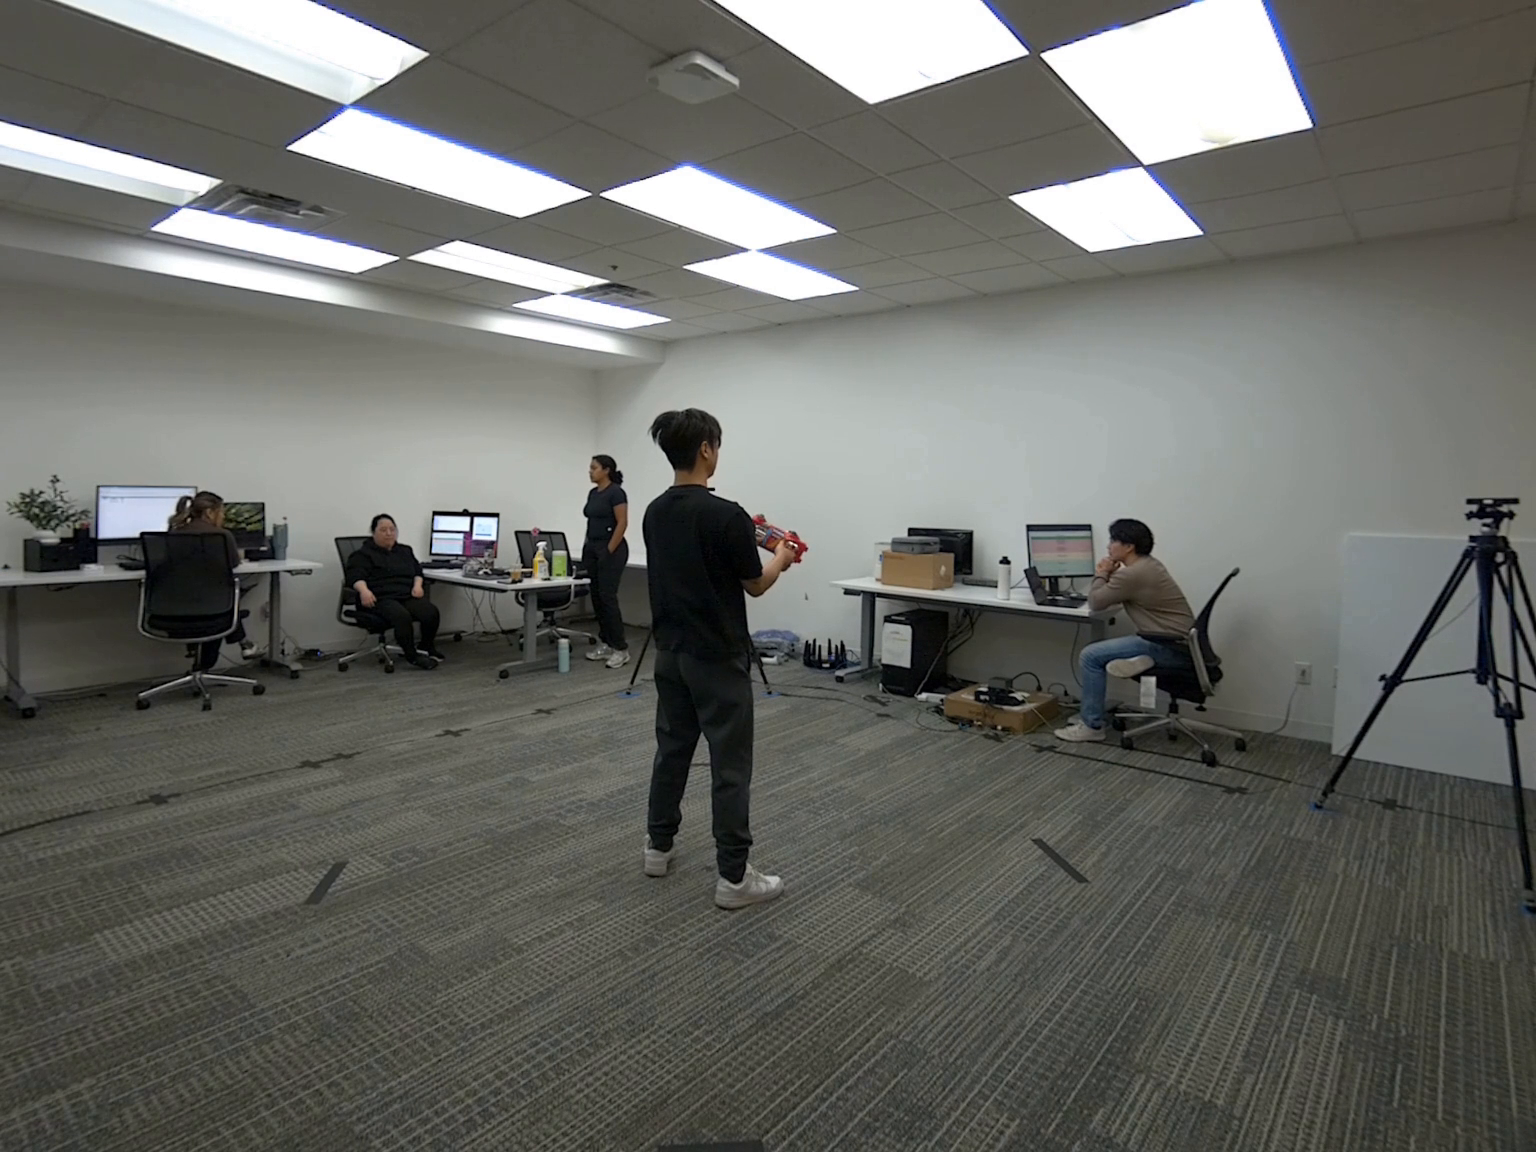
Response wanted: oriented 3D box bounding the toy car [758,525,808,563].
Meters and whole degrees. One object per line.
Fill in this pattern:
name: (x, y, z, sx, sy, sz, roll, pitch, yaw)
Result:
toy car: (0.020, -0.139, 3.324, 0.255, 0.130, 0.083, 29, 10, 2)
